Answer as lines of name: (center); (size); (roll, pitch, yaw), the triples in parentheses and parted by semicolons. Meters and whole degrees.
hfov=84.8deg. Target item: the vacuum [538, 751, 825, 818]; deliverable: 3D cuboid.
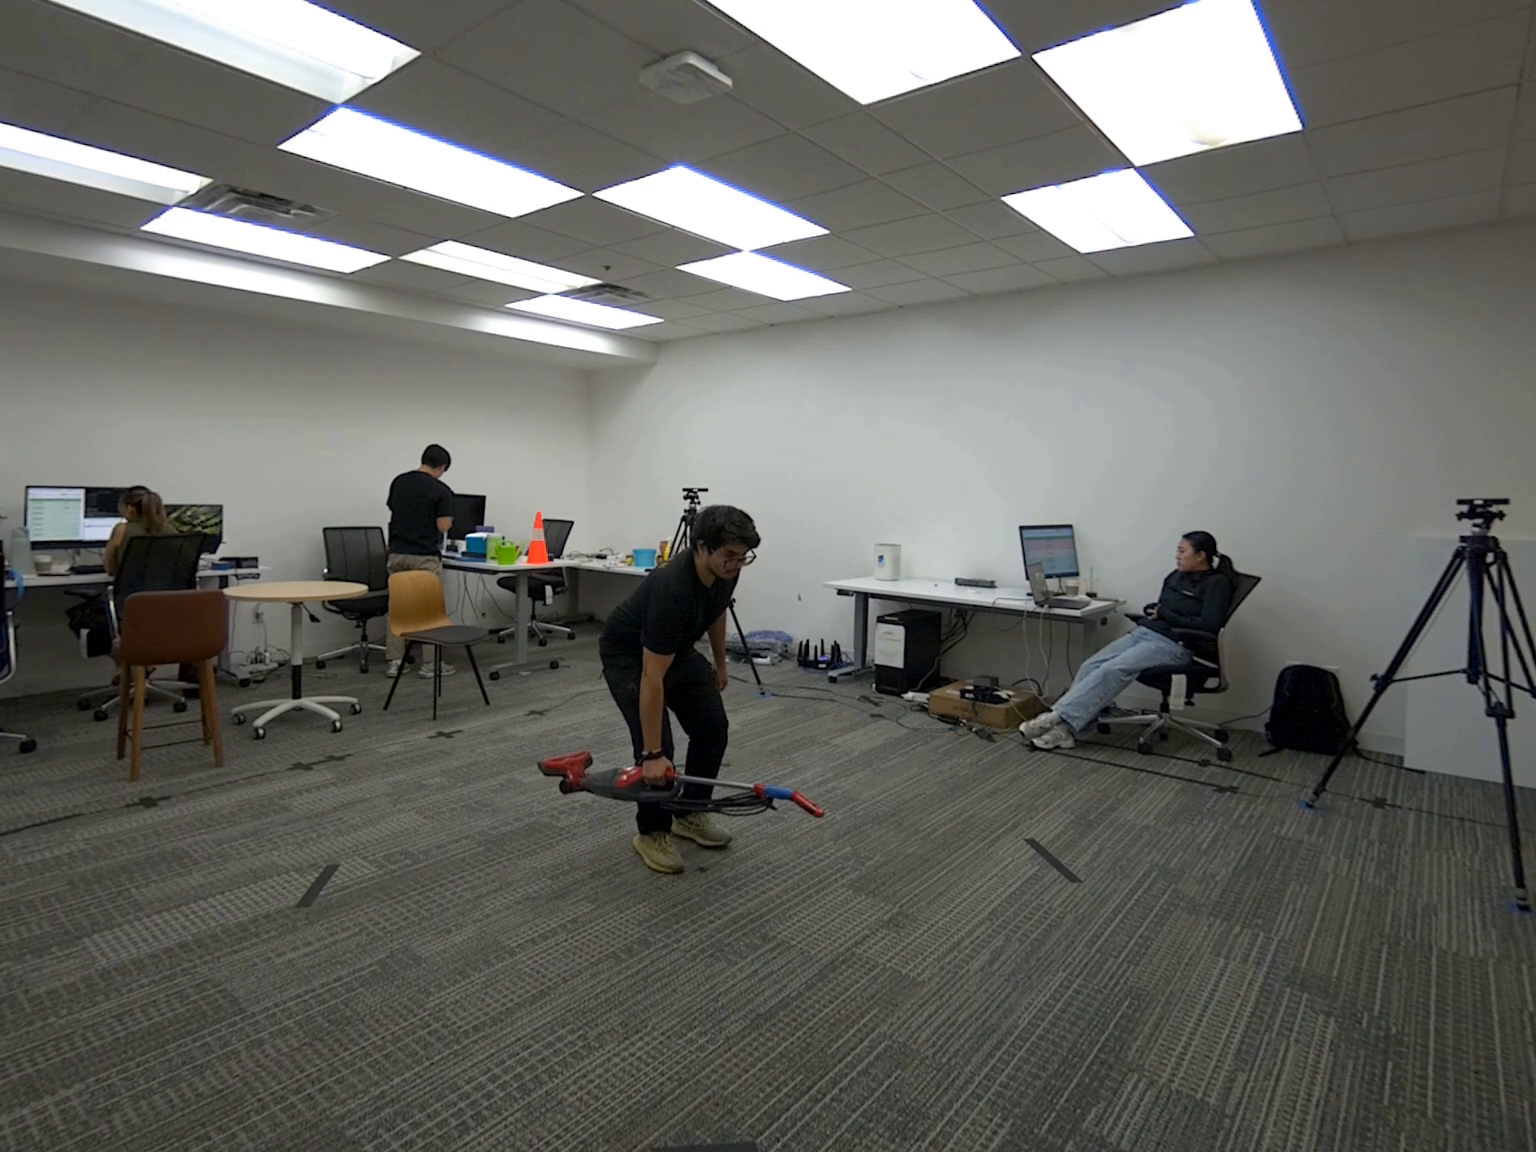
vacuum: (-0.298, 0.722, 2.831); (1.080, 0.144, 0.245); (0, 3, 34)
